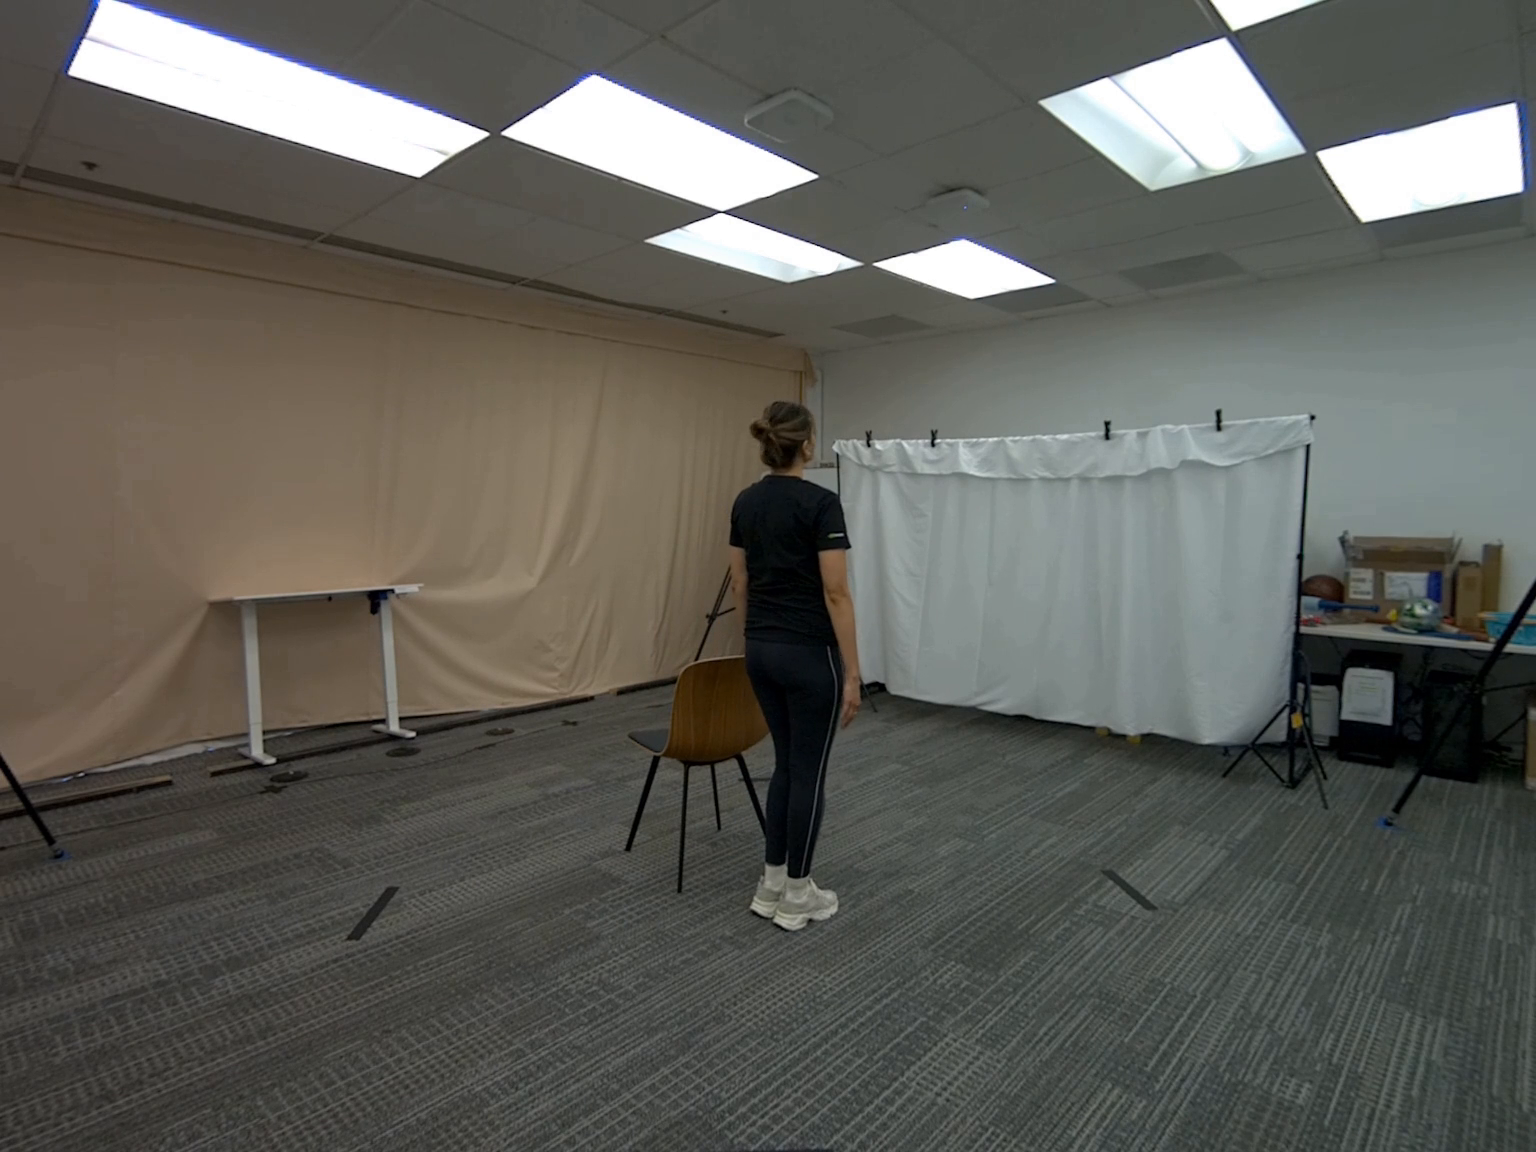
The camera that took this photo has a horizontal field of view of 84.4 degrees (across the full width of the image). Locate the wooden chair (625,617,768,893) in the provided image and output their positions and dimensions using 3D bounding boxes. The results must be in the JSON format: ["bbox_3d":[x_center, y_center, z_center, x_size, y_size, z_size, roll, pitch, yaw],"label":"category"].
[{"bbox_3d":[-0.274,0.692,3.313,0.465,0.874,0.540,-2,8,-33],"label":"wooden chair"}]
